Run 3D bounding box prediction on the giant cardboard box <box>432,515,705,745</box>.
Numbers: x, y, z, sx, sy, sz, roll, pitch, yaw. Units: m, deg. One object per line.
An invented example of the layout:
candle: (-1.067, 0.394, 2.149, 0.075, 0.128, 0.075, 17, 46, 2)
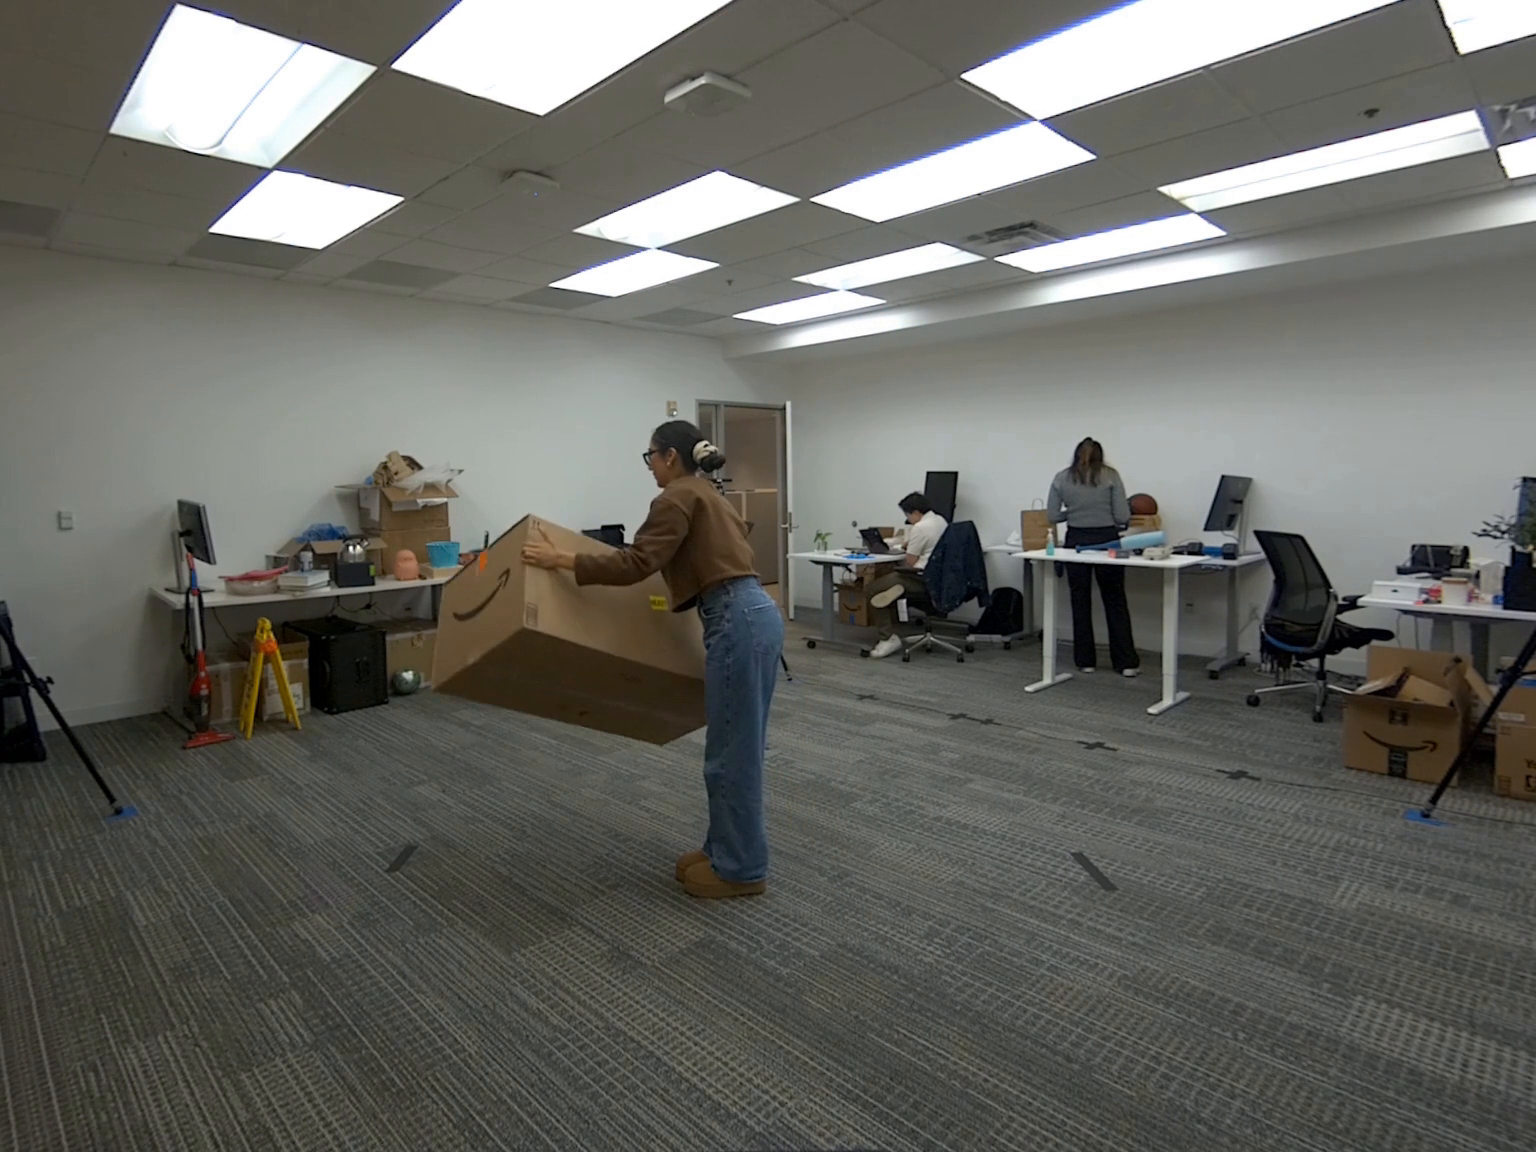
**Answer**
giant cardboard box: (-0.614, 0.246, 3.161, 0.989, 0.438, 0.583, 24, -42, -39)
